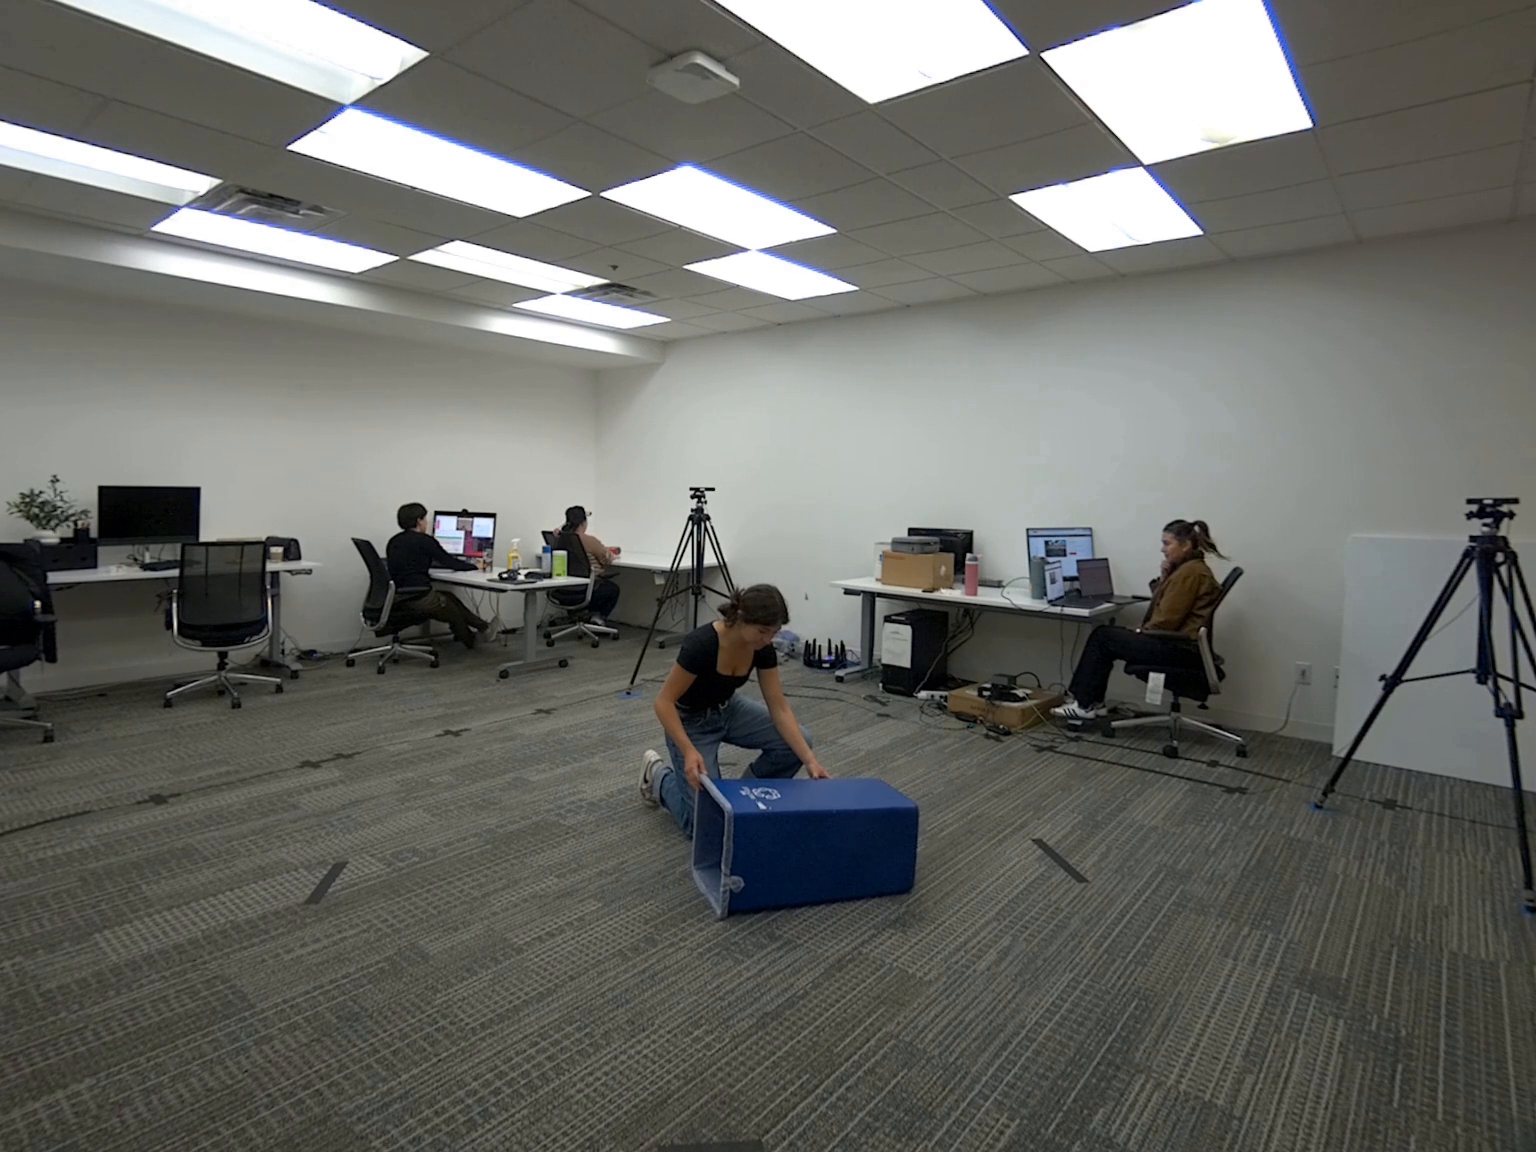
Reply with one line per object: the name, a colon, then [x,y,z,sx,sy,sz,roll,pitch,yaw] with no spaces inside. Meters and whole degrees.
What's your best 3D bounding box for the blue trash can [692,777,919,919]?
blue trash can: [0.122,0.917,2.989,0.700,0.377,0.382,2,3,-18]
